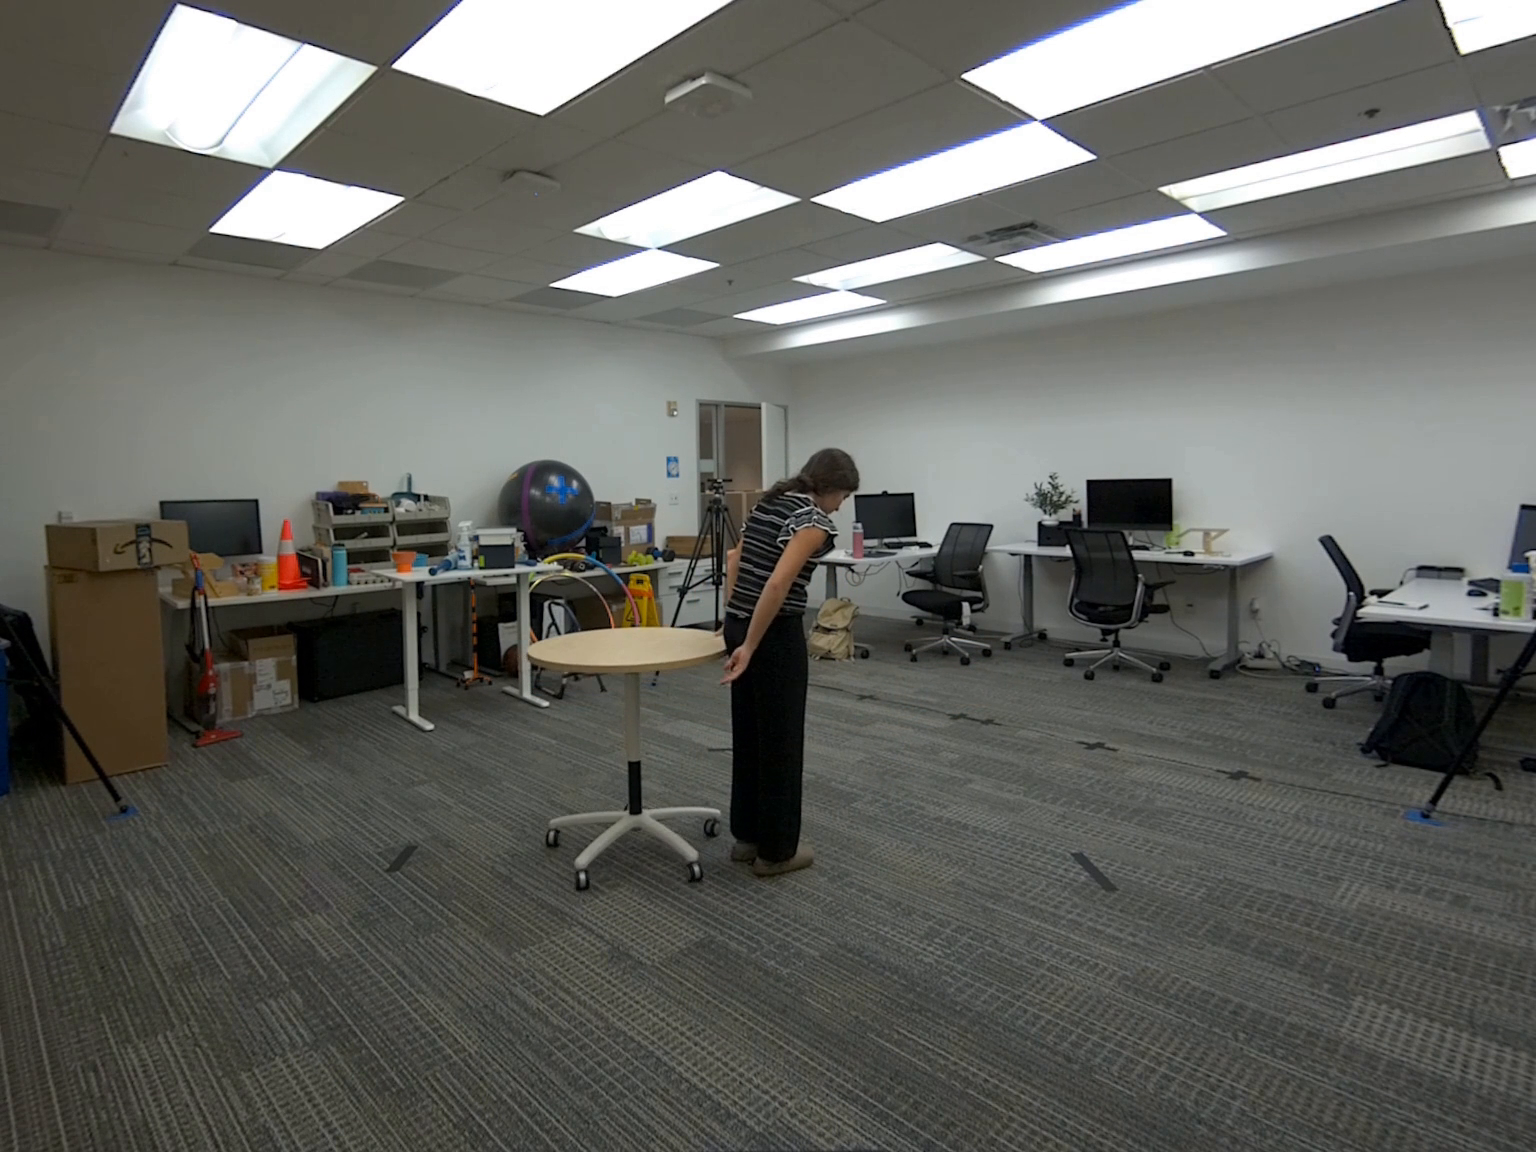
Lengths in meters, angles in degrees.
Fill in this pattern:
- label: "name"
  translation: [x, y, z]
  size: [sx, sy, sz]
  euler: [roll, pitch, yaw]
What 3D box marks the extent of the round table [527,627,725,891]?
- label: "round table"
  translation: [-0.489, 0.641, 3.218]
  size: [0.784, 0.784, 0.789]
  euler: [-2, 5, -2]
